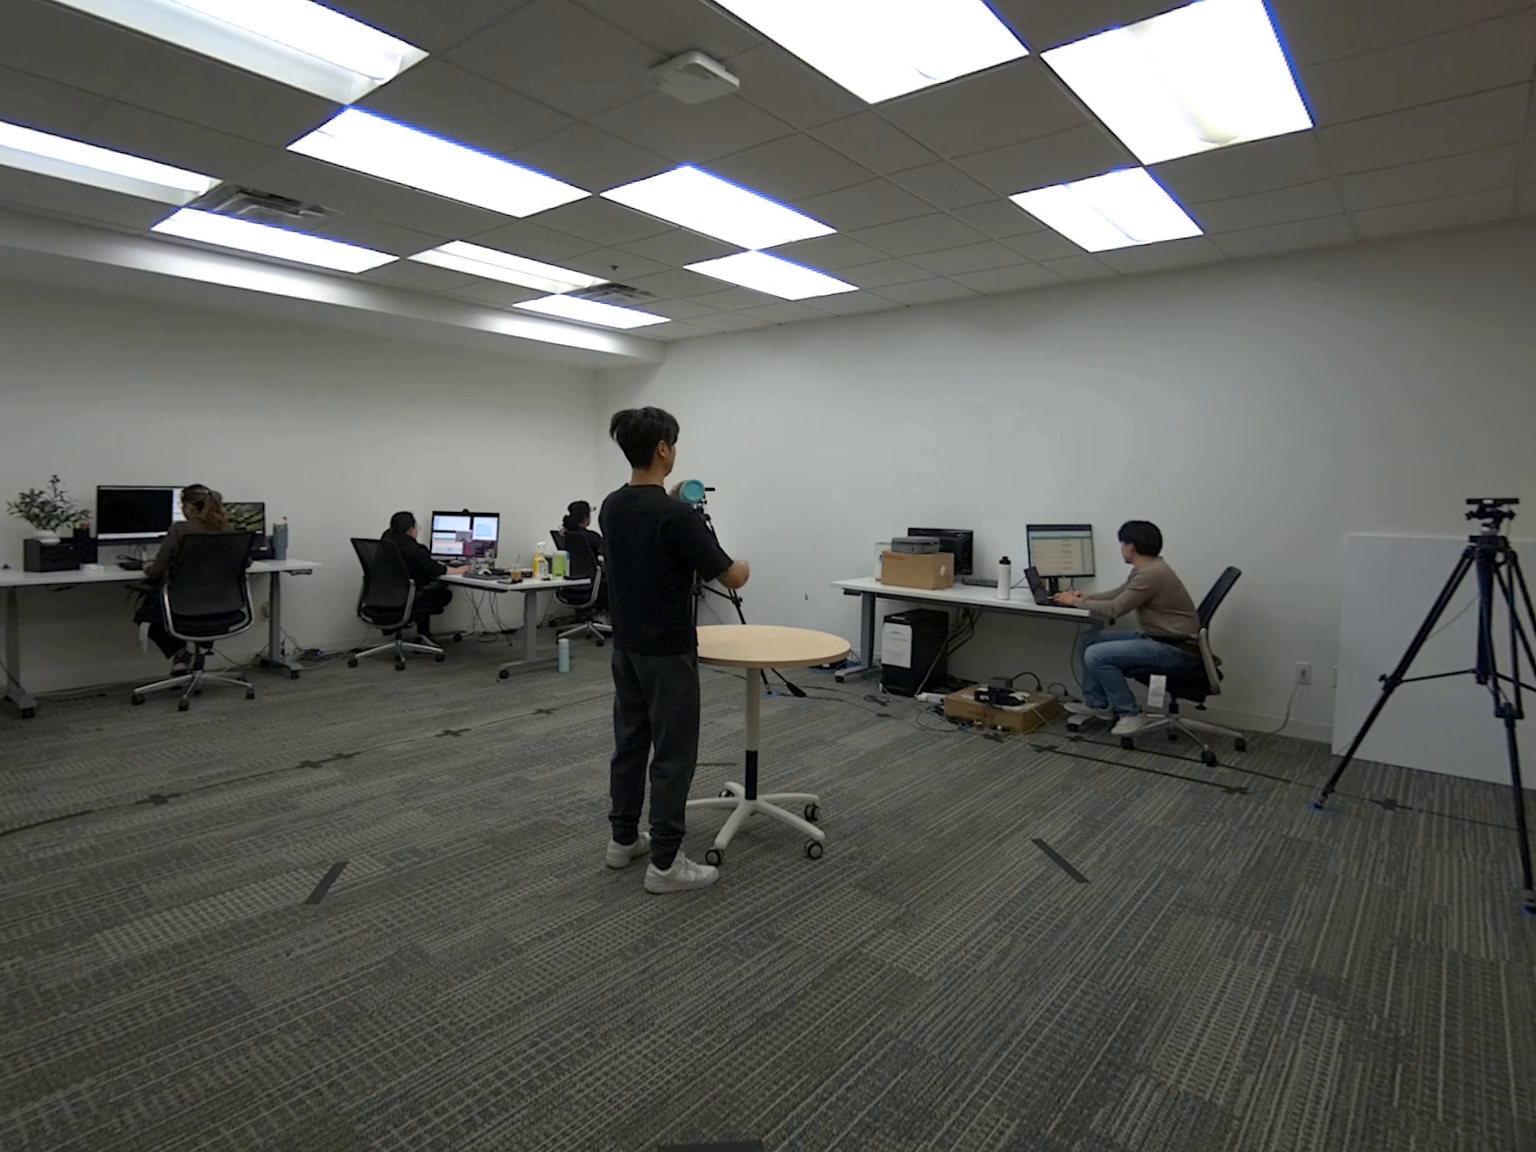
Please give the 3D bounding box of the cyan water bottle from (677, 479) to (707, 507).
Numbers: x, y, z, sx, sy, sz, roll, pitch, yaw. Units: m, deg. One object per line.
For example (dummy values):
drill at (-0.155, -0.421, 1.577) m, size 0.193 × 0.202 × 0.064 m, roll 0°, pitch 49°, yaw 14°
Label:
cyan water bottle at (-0.332, -0.320, 3.420) m, size 0.091 × 0.093 × 0.286 m, roll 0°, pitch -3°, yaw -14°
